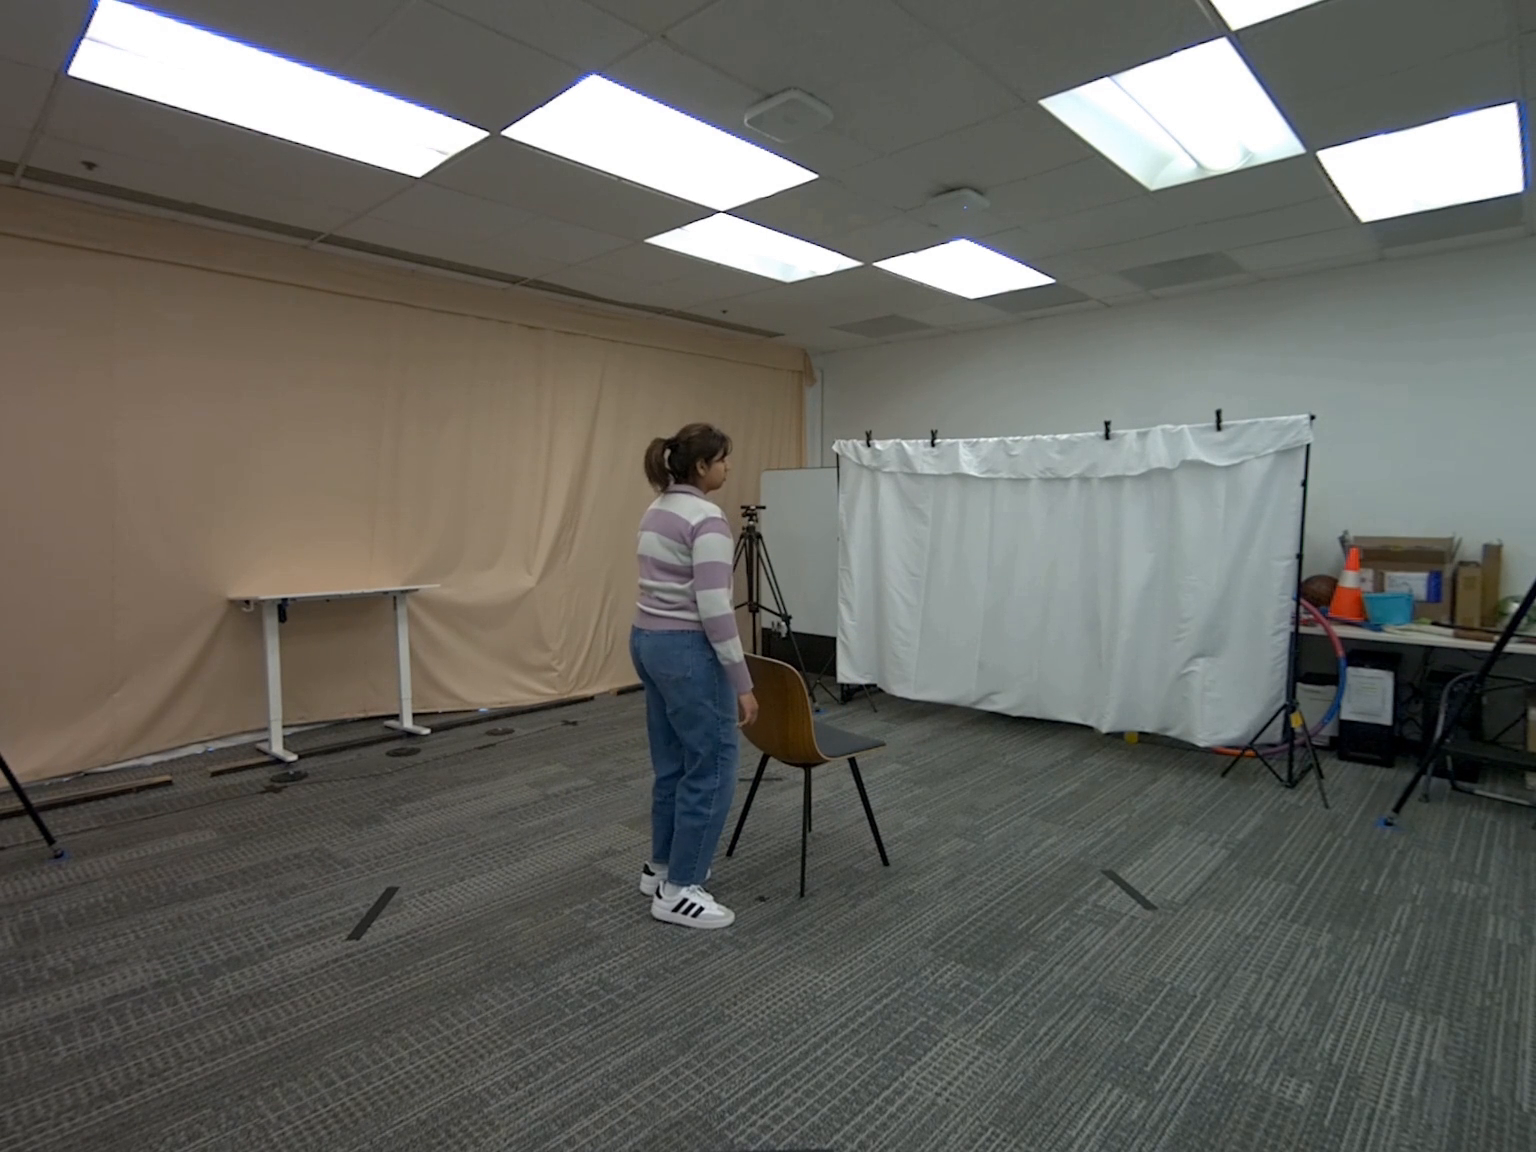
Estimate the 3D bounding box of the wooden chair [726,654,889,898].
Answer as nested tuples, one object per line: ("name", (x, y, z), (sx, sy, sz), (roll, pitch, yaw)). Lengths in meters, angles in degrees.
("wooden chair", (0.161, 0.693, 3.275), (0.508, 0.874, 0.493), (-8, 7, -38))
